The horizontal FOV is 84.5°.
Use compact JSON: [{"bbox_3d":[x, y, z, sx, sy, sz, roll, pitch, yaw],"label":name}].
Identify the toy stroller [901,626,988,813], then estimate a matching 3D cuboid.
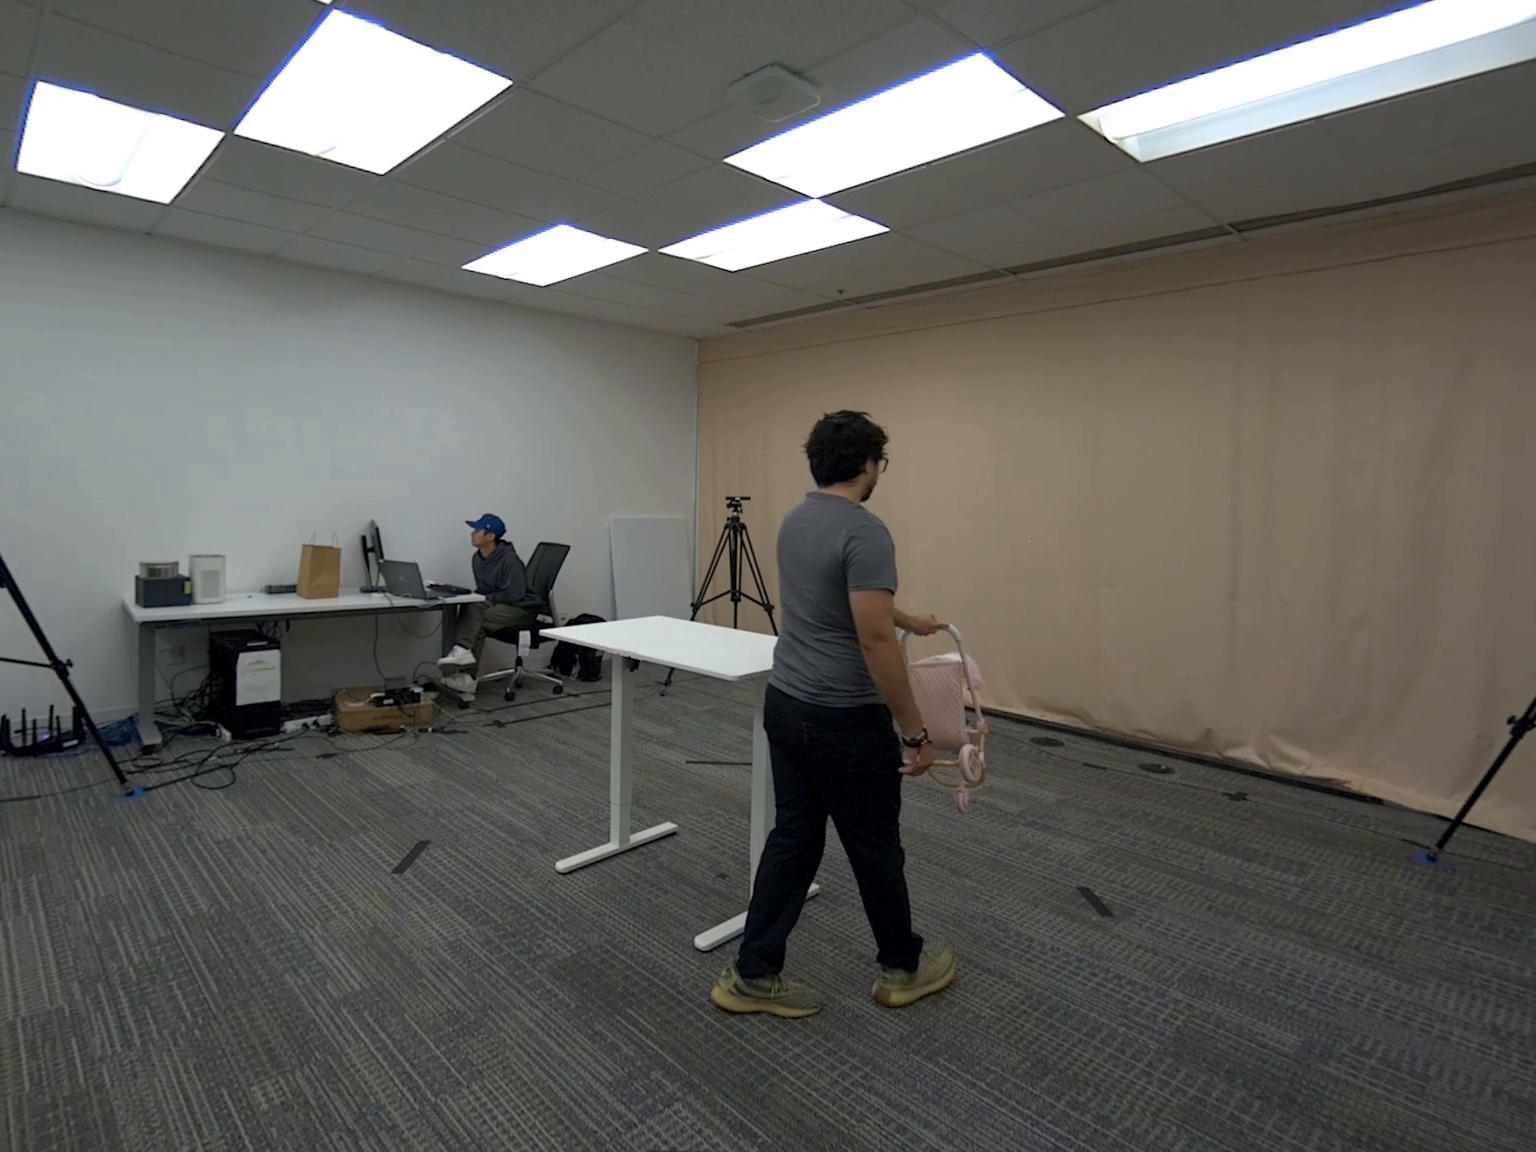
[{"bbox_3d":[0.558,0.459,2.678,0.286,0.542,0.331,-14,-29,37],"label":"toy stroller"}]
